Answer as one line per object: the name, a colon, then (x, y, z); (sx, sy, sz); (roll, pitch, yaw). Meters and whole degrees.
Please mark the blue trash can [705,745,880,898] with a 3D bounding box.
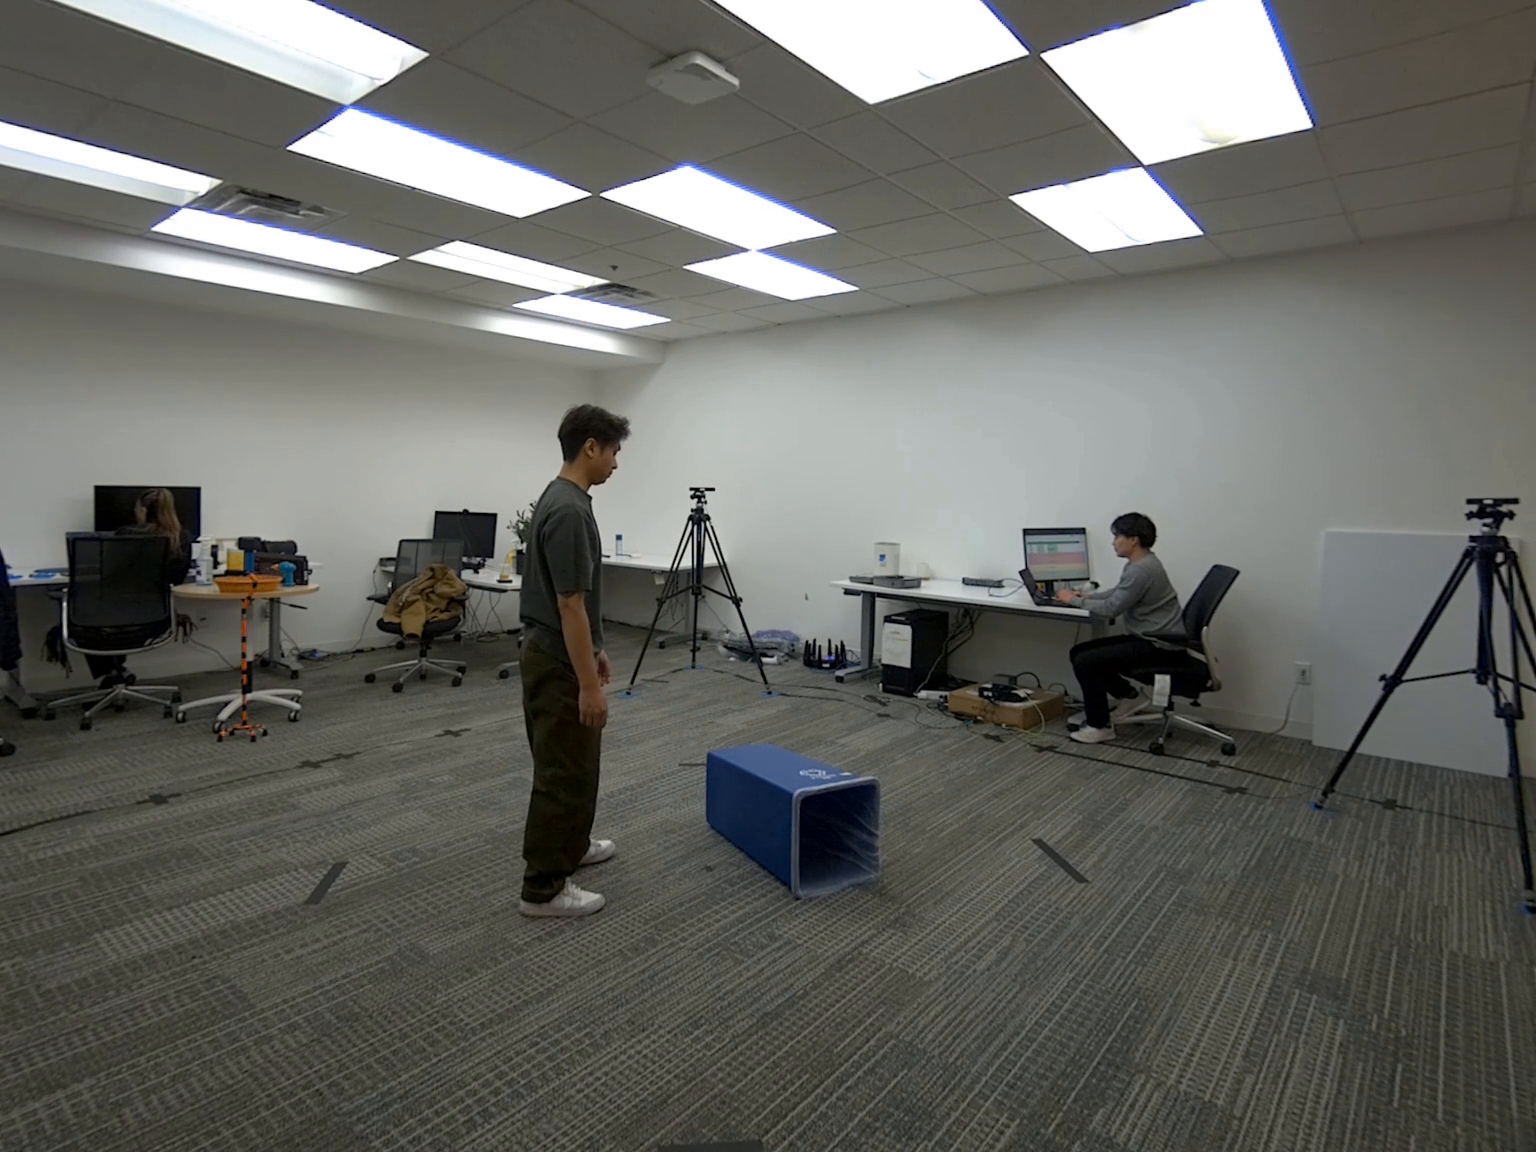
blue trash can: (0.056, 0.890, 3.272); (0.368, 0.373, 0.734); (-2, 3, -31)
